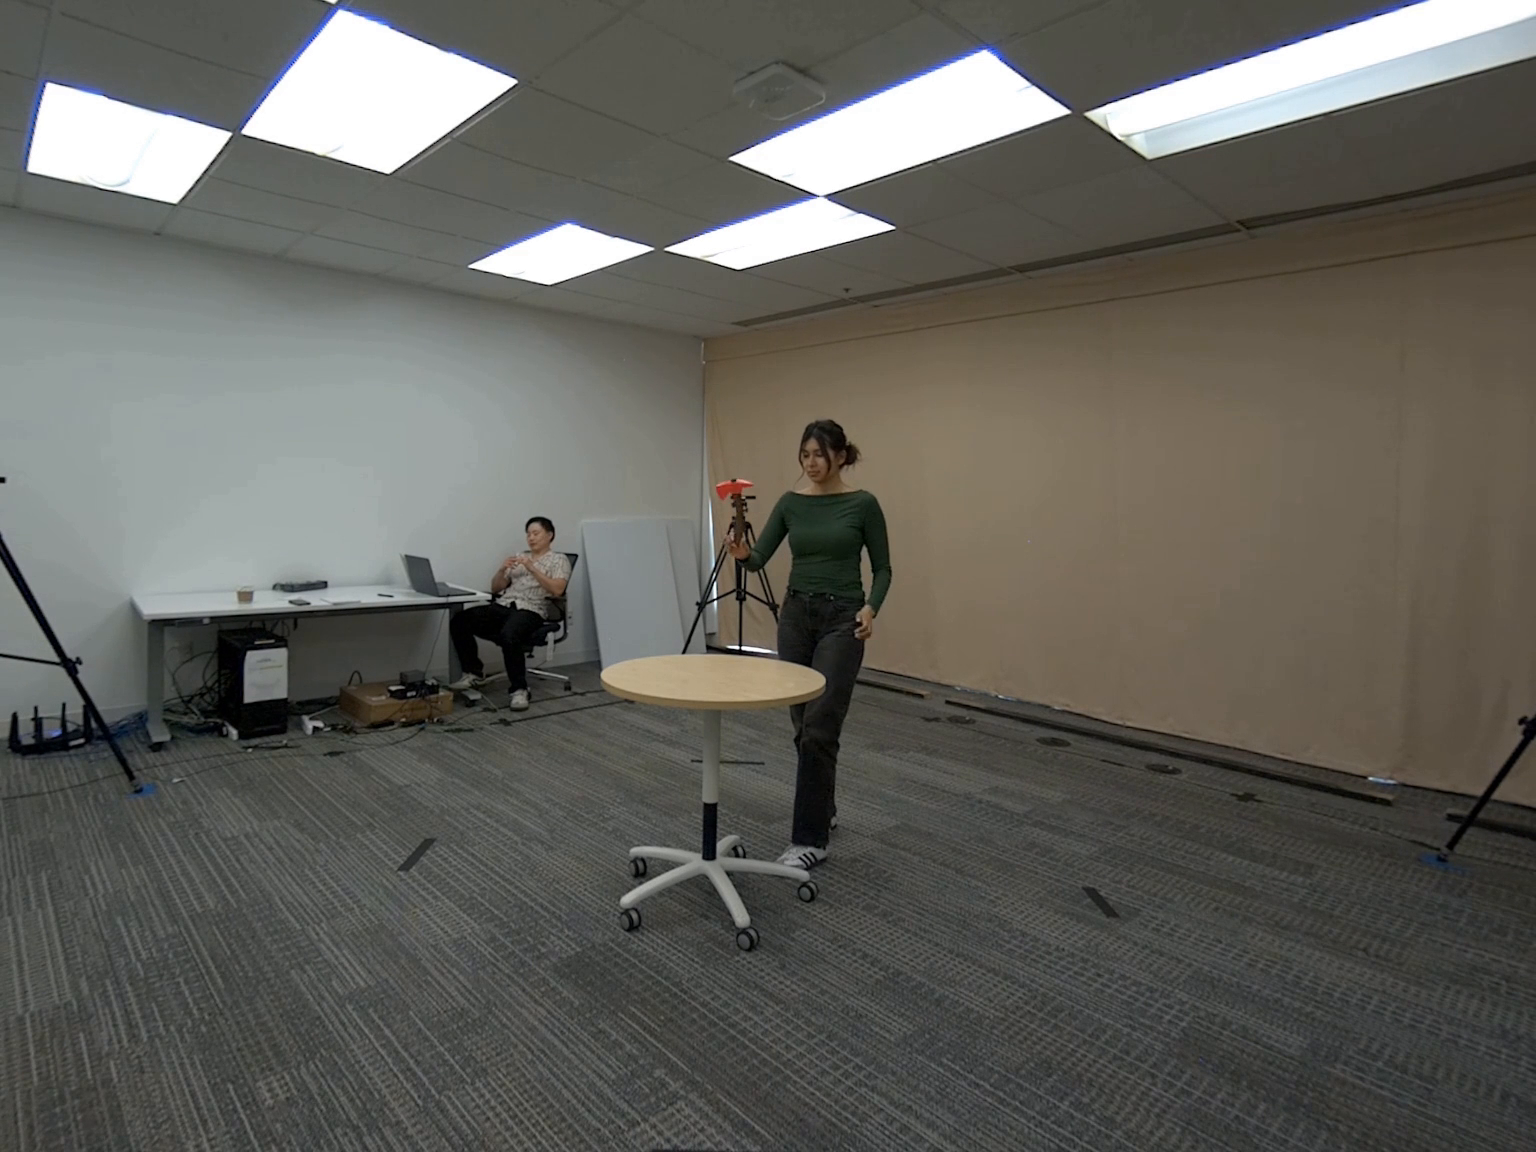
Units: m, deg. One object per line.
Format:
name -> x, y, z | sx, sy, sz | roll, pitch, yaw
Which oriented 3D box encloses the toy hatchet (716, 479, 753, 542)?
toy hatchet -> -0.145, -0.232, 3.008 | 0.131, 0.266, 0.030 | 11, 32, -2
